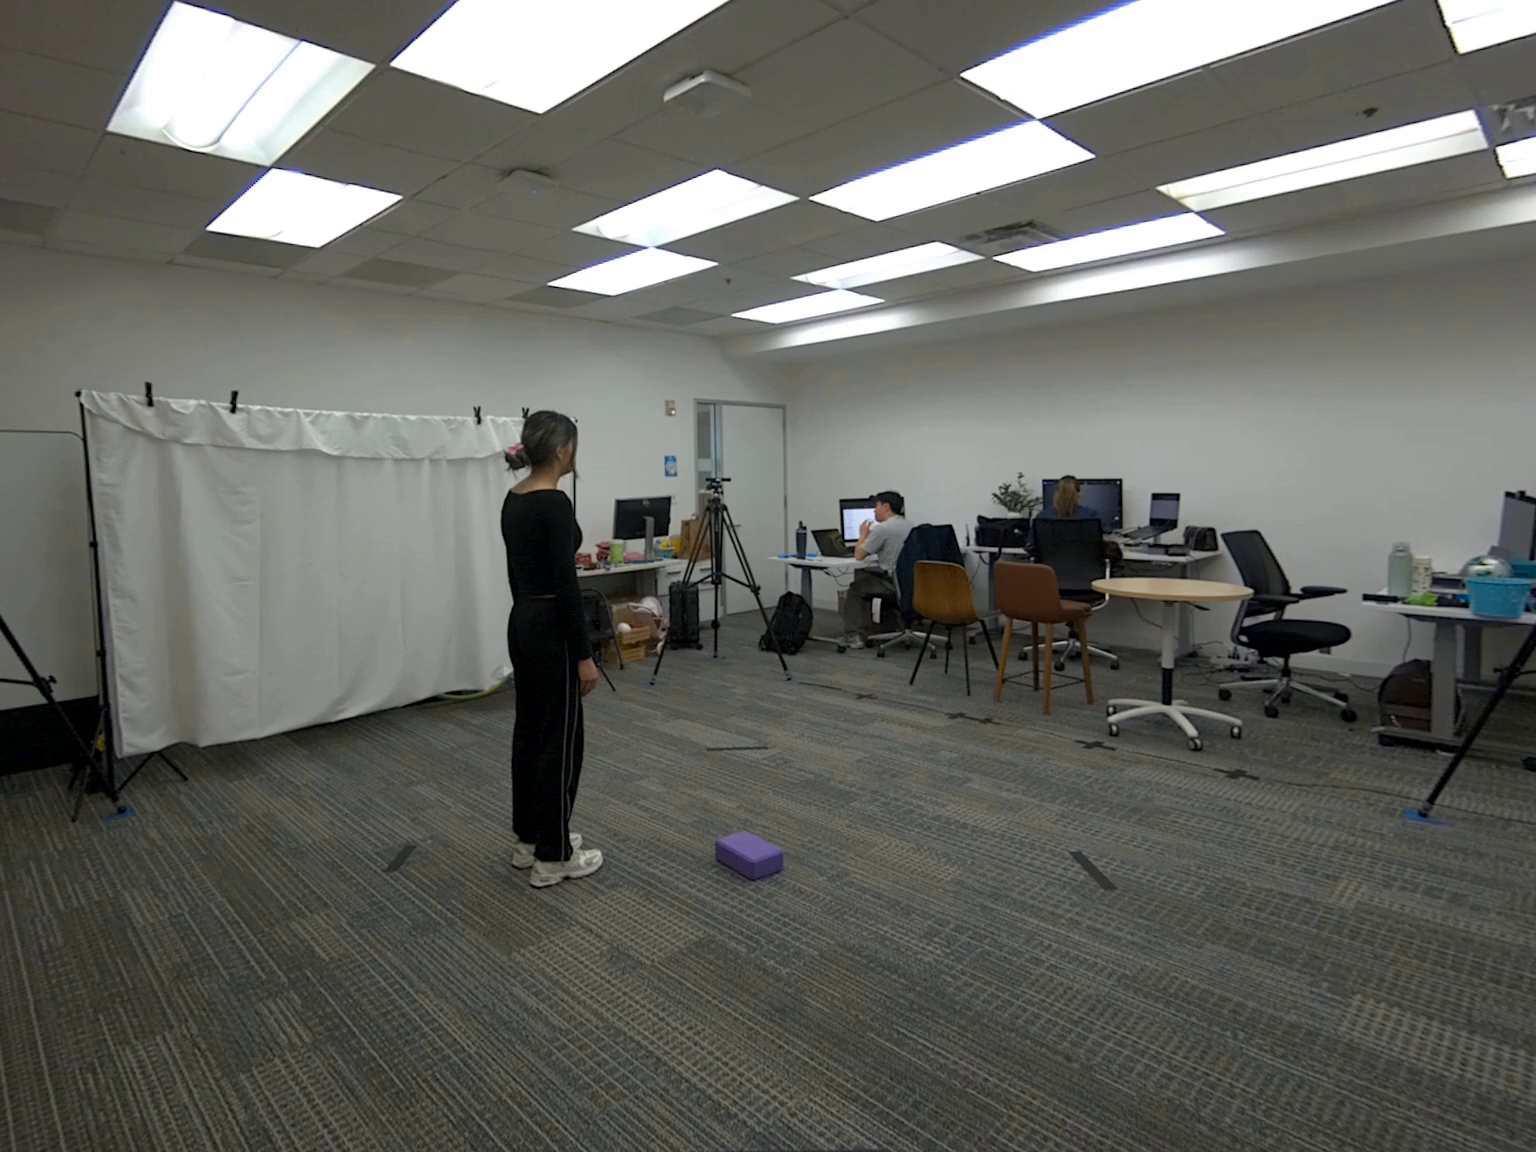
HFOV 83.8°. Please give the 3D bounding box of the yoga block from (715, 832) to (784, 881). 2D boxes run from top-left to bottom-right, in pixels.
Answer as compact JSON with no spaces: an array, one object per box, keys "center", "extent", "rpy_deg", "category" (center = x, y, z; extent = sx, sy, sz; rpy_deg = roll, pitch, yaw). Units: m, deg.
[{"center":[-0.068,0.998,3.082],"extent":[0.145,0.076,0.236],"rpy_deg":[-4,7,-38],"category":"yoga block"}]
